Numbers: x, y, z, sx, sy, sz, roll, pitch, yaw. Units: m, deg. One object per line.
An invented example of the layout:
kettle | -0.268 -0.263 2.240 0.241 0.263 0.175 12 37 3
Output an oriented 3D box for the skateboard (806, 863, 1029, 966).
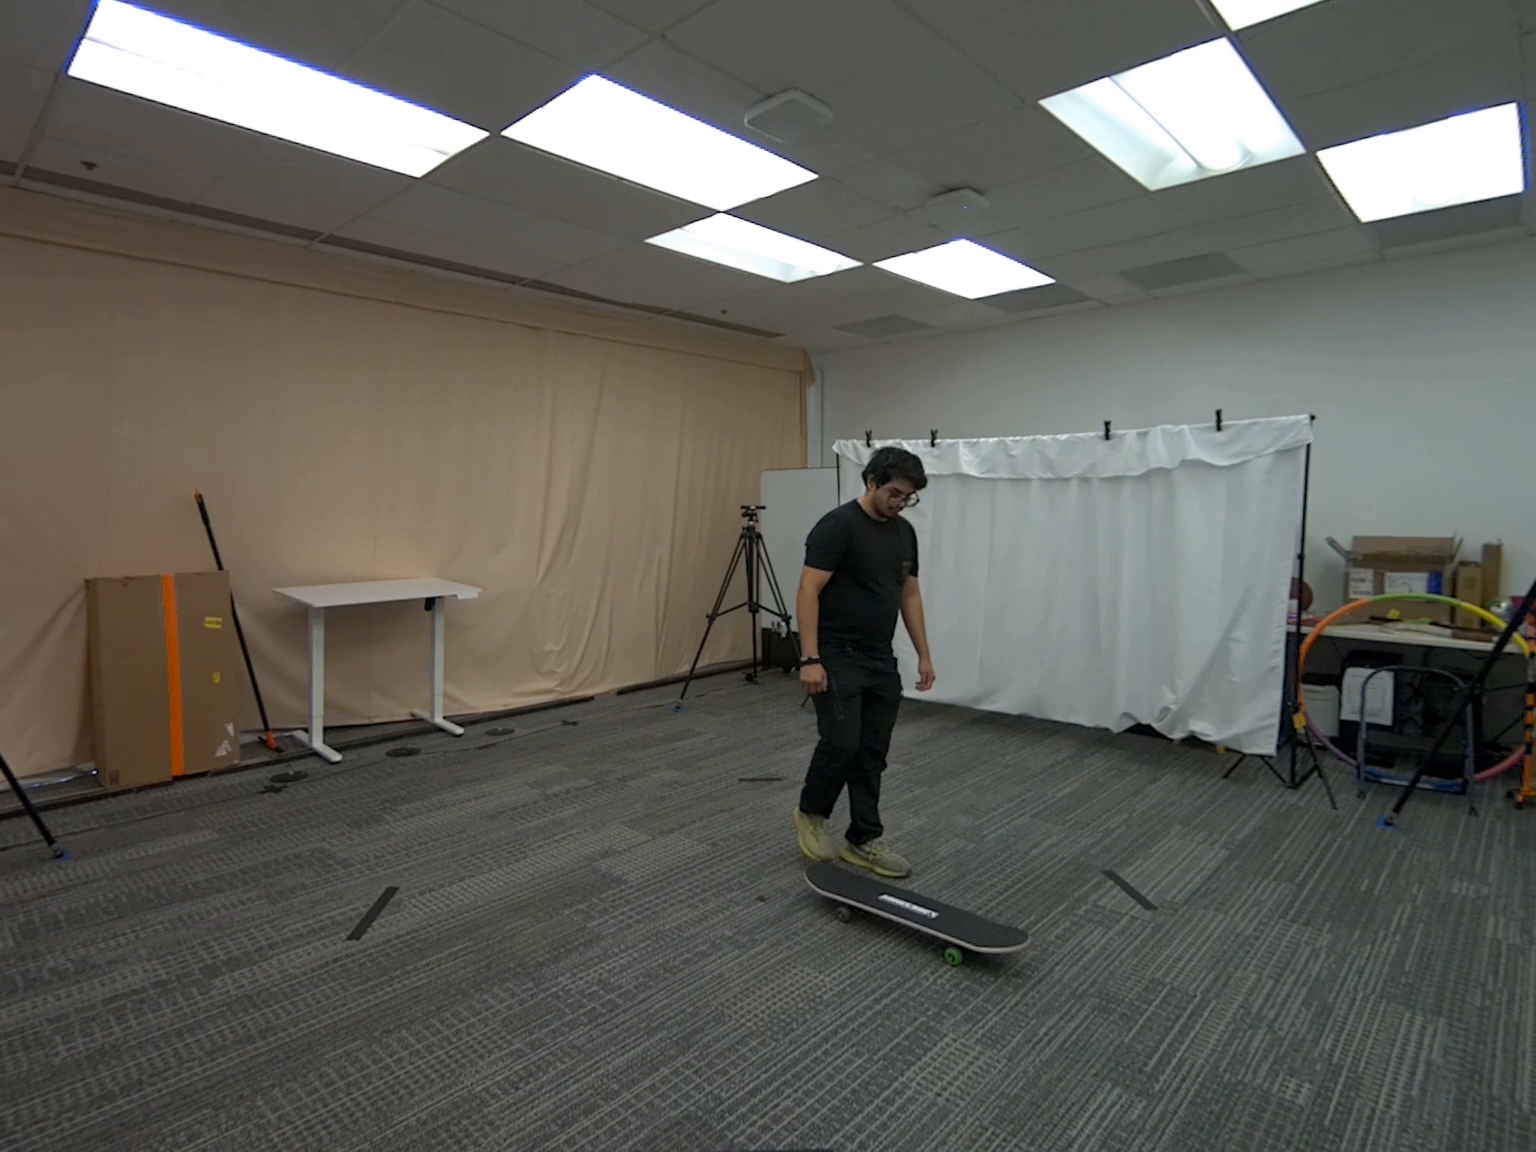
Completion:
skateboard | 0.462 1.107 2.746 0.811 0.110 0.188 3 5 40
